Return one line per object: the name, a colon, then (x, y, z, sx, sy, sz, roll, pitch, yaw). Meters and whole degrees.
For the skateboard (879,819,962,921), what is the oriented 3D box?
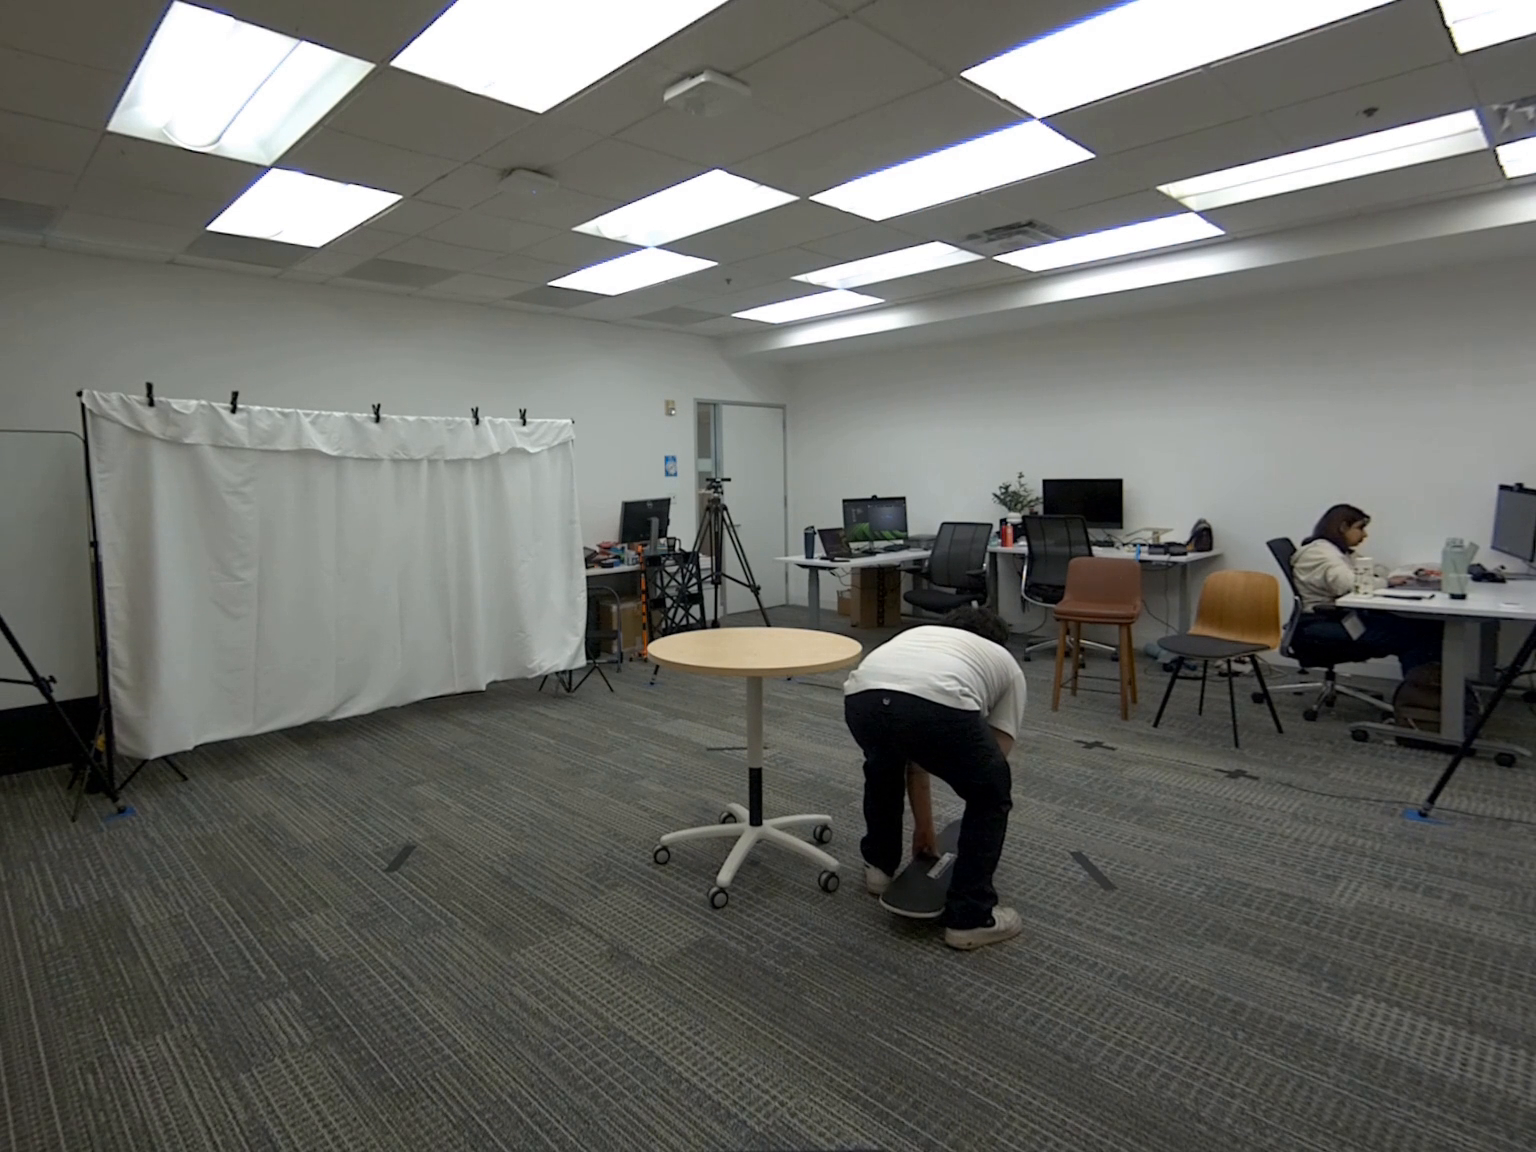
skateboard: (0.580, 1.004, 2.867, 0.198, 0.110, 0.769, 2, 8, 29)
